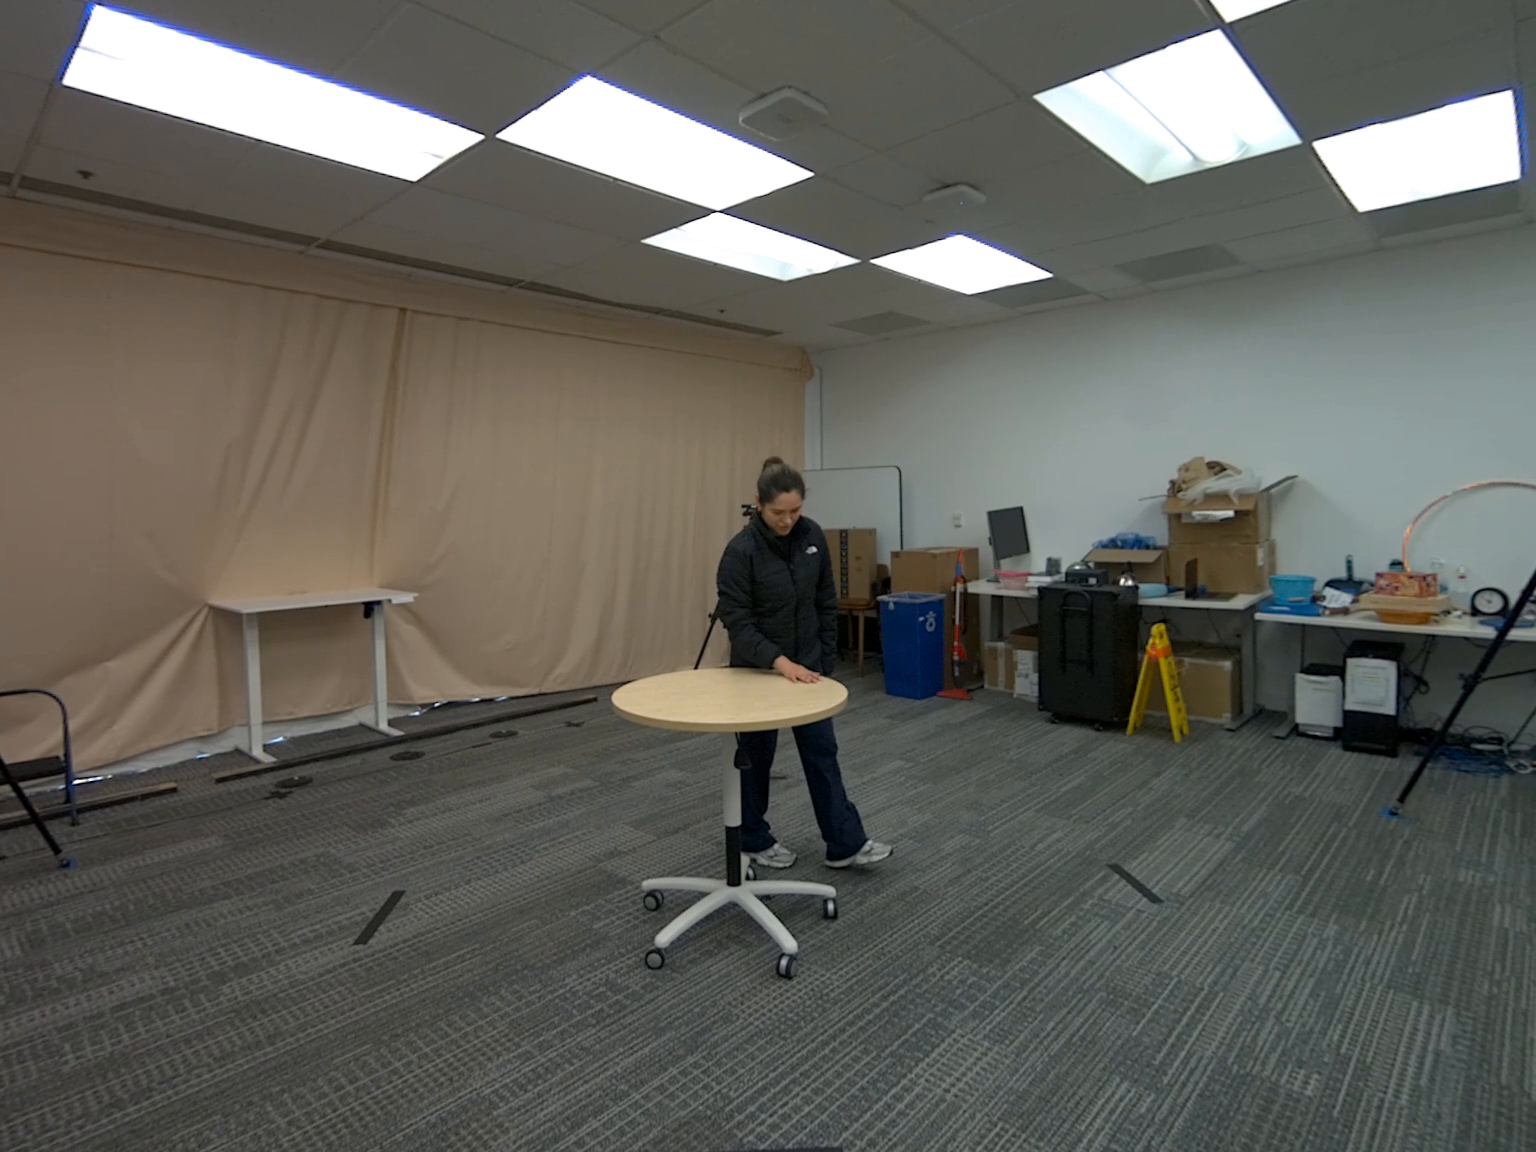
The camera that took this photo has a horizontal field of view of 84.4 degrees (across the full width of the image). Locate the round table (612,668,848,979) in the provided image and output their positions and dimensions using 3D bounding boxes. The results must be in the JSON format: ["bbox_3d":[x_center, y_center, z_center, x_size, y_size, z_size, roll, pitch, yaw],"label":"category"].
[{"bbox_3d":[-0.119,0.765,2.780,0.784,0.785,0.788,-1,4,-2],"label":"round table"}]
